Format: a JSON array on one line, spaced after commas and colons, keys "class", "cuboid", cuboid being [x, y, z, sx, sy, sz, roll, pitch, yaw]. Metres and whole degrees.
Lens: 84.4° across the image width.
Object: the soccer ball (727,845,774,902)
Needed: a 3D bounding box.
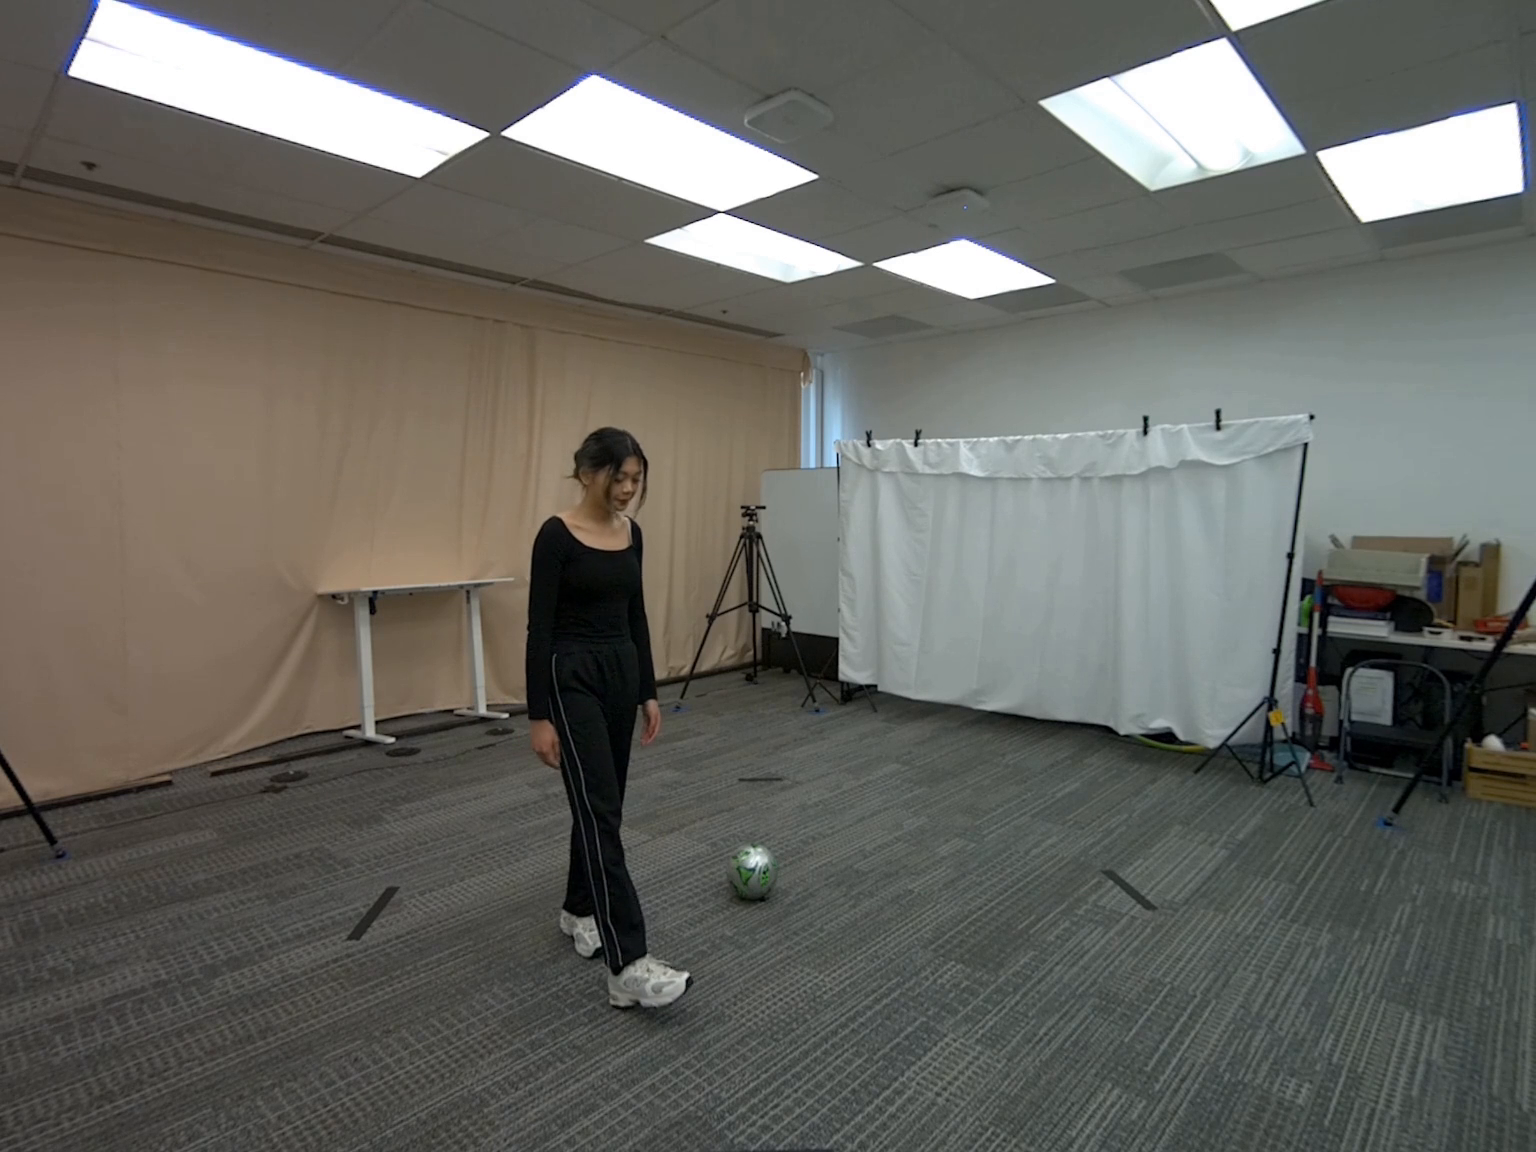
[{"class": "soccer ball", "cuboid": [-0.055, 1.044, 2.996, 0.187, 0.187, 0.188, 0, 4, -2]}]
